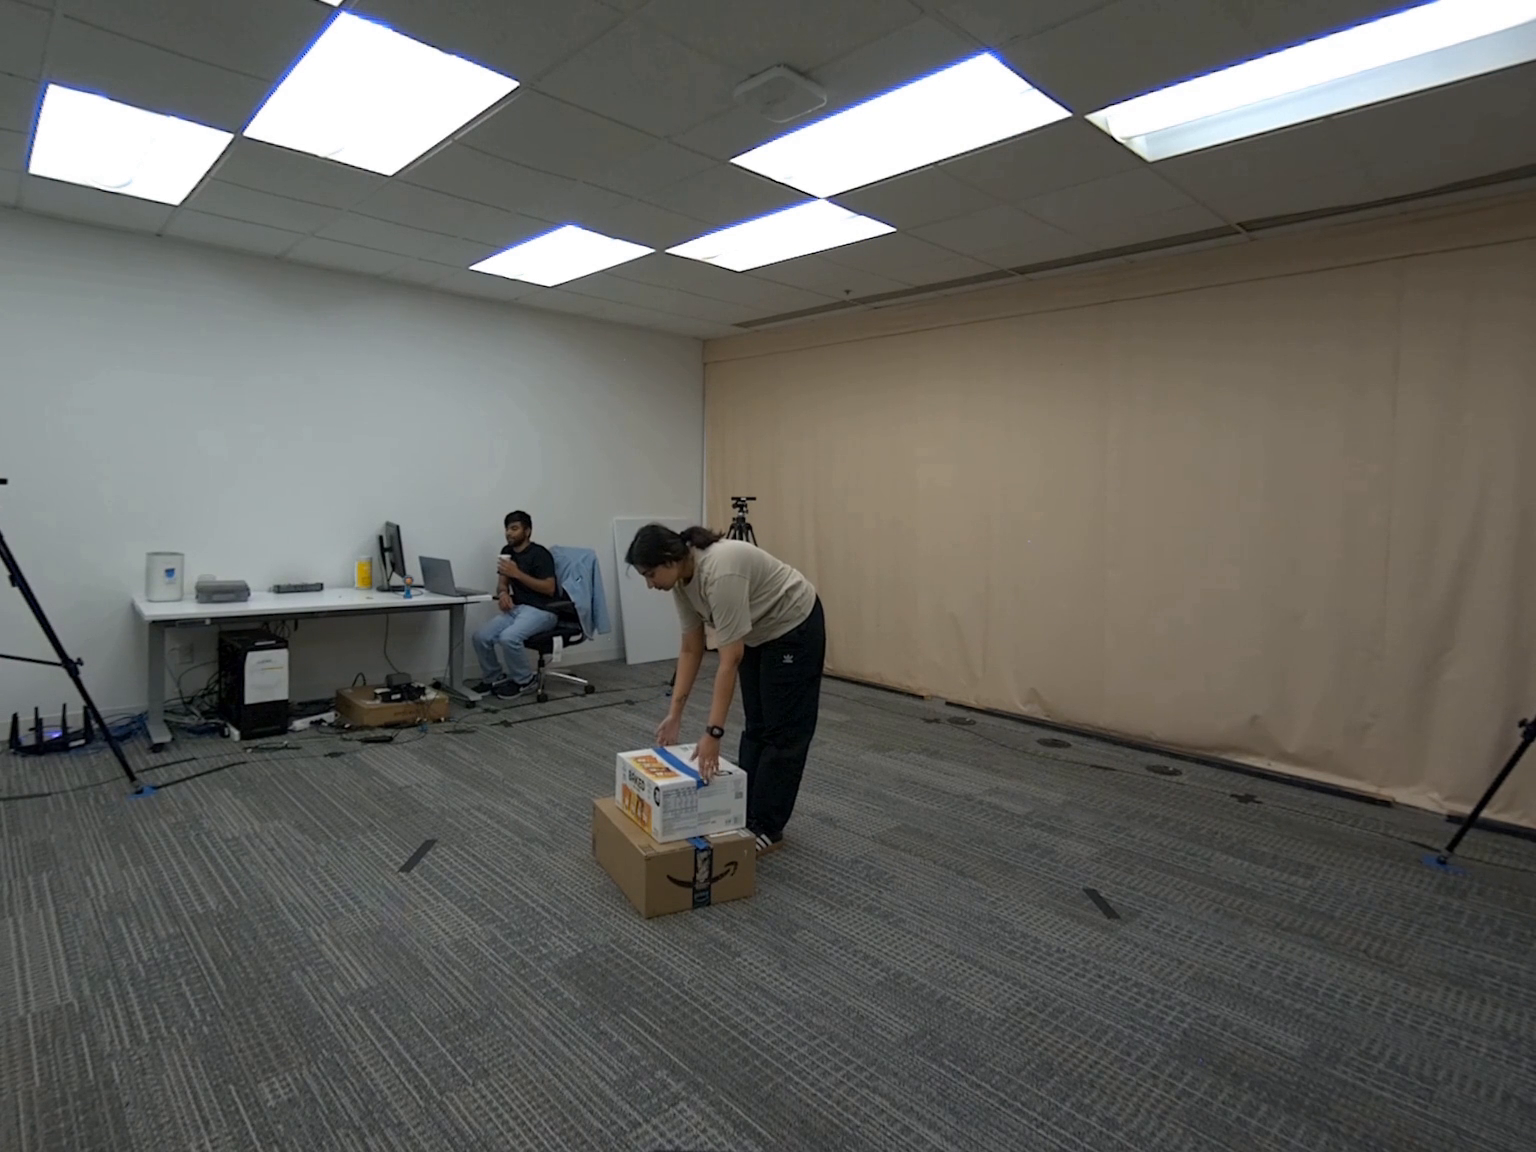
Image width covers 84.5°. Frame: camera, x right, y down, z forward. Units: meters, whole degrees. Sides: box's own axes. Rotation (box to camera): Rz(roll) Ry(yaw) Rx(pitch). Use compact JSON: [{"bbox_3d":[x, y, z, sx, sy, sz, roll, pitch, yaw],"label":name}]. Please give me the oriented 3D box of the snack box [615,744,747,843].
[{"bbox_3d":[-0.330,0.788,3.092,0.333,0.205,0.414,-1,5,-30],"label":"snack box"}]
